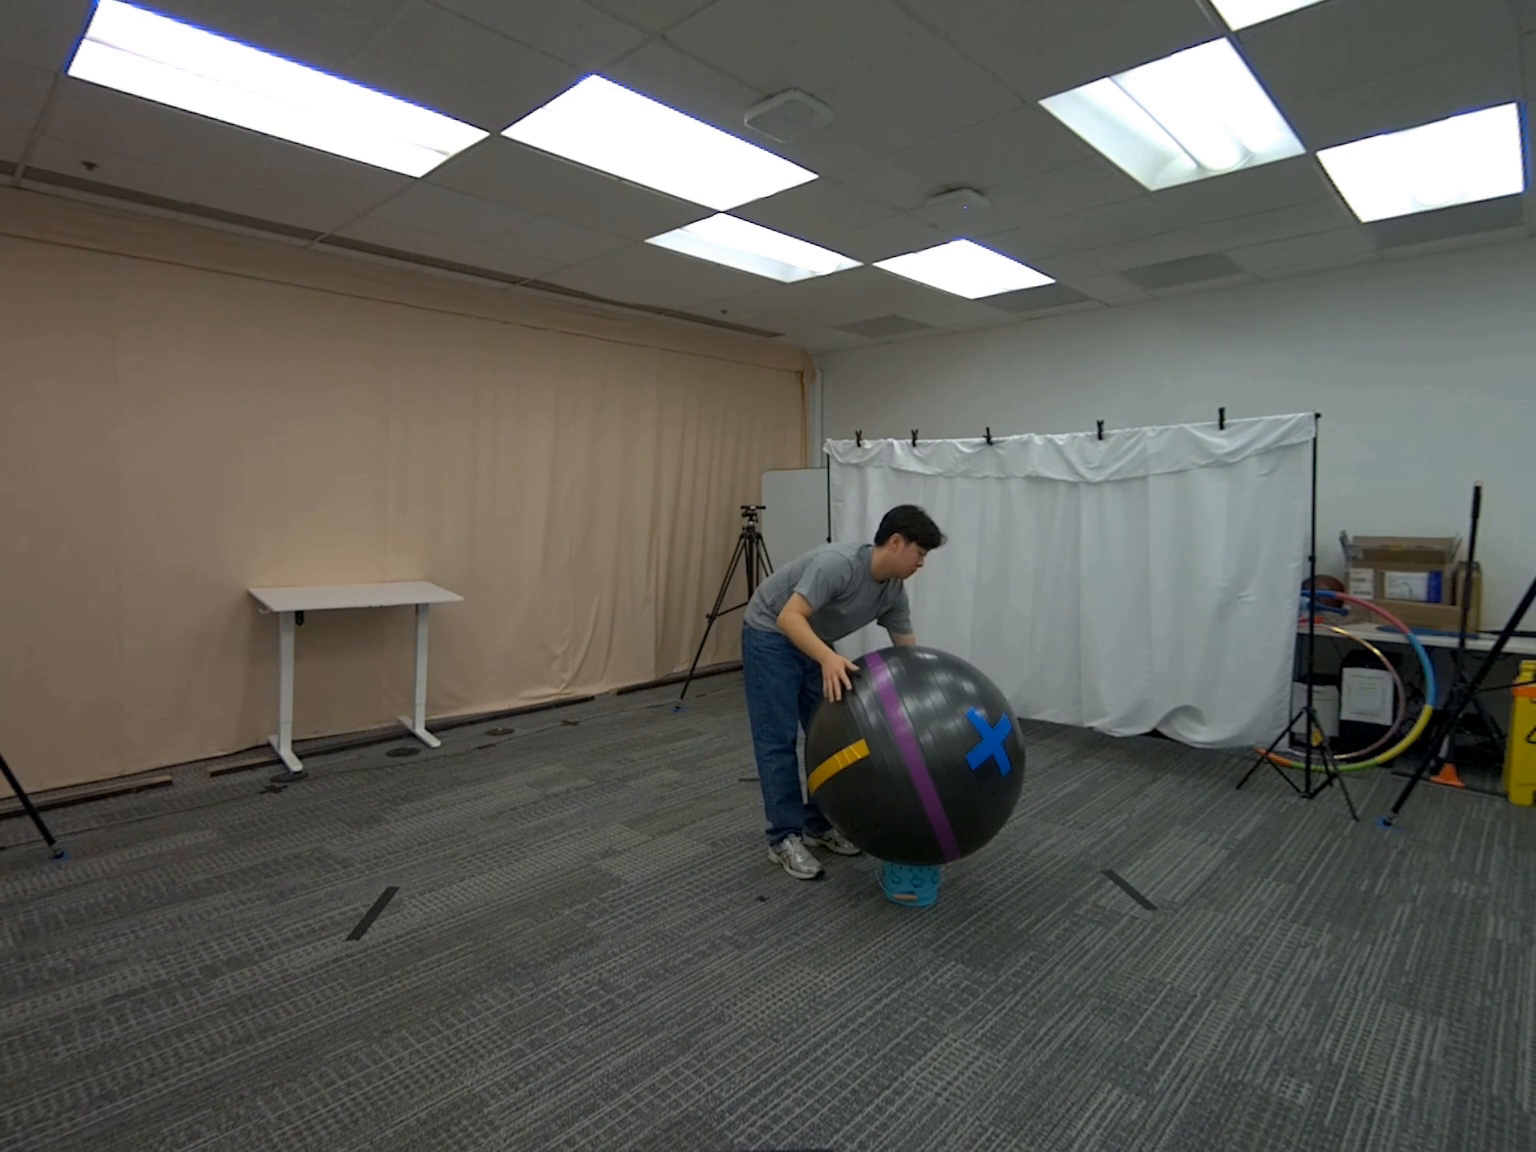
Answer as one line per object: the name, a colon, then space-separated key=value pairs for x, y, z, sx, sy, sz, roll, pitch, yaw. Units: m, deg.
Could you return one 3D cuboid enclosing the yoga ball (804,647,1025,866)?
yoga ball: x=0.513 y=0.629 z=2.993 sx=0.757 sy=0.756 sz=0.760 roll=0 pitch=4 yaw=-2
